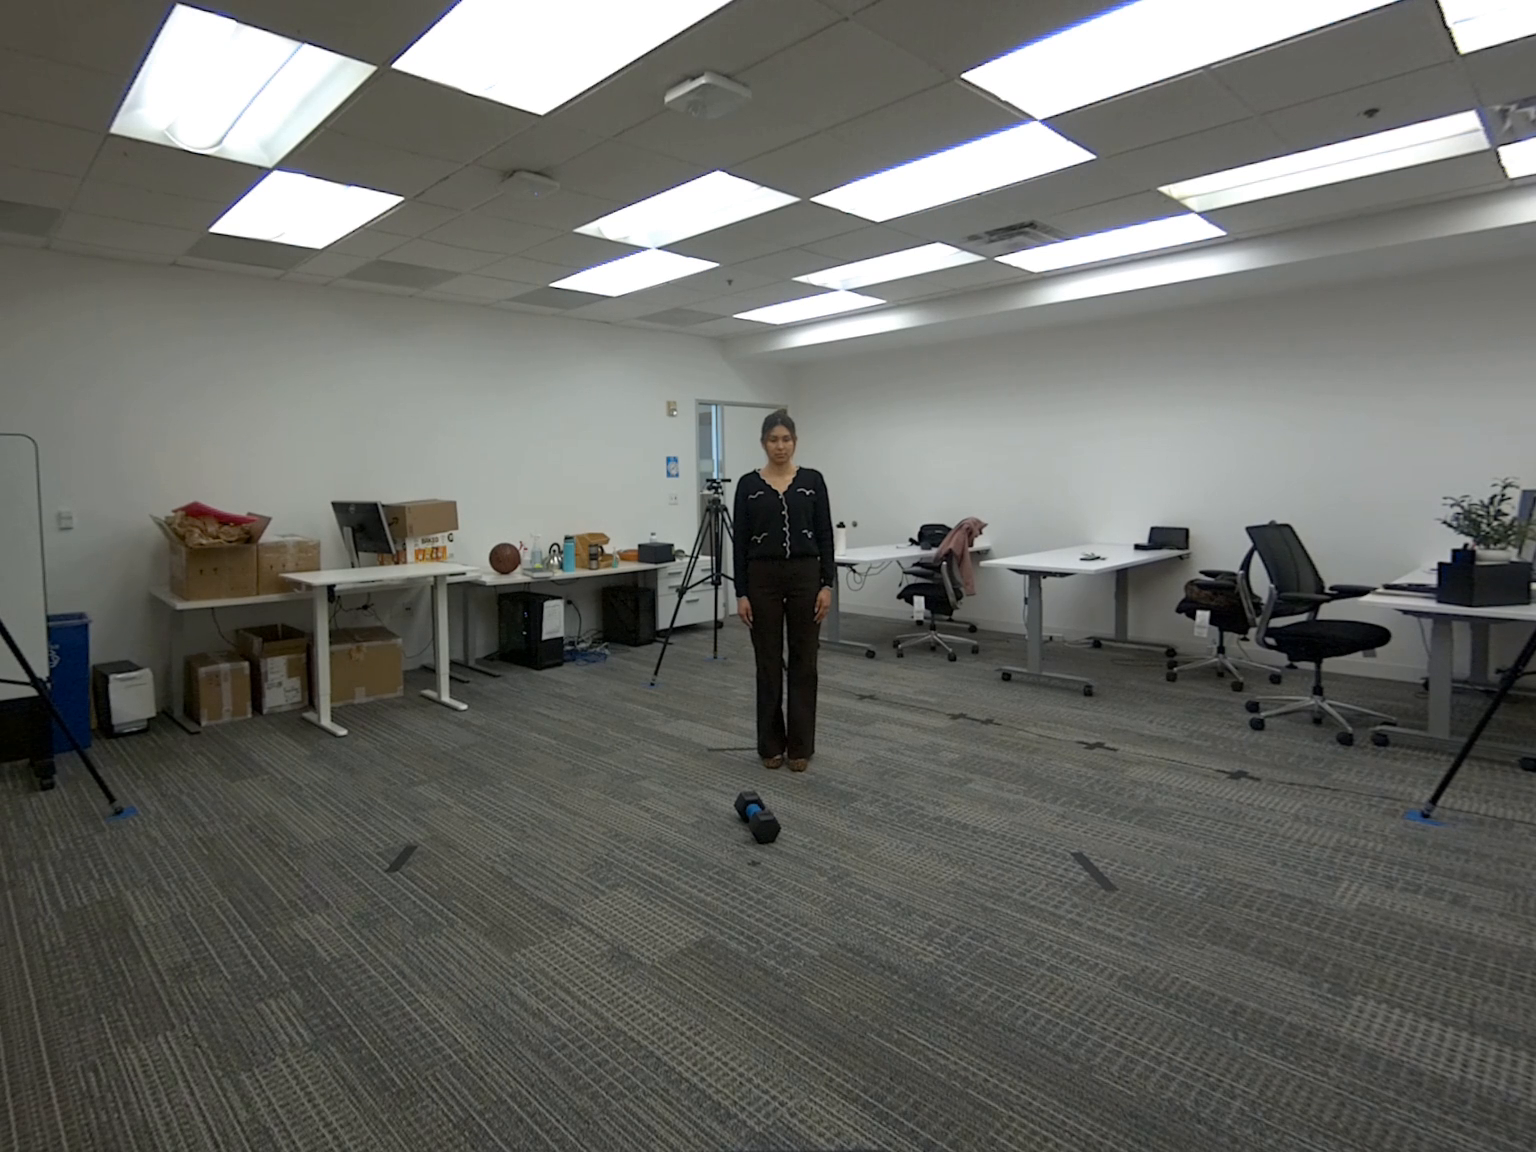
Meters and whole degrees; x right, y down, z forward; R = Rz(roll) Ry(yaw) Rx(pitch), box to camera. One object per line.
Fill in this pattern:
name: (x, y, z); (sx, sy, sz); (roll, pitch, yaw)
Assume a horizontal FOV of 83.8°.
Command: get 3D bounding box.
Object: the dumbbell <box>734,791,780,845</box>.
dumbbell: (-0.042, 0.960, 3.402); (0.108, 0.121, 0.299); (-32, 13, -10)
